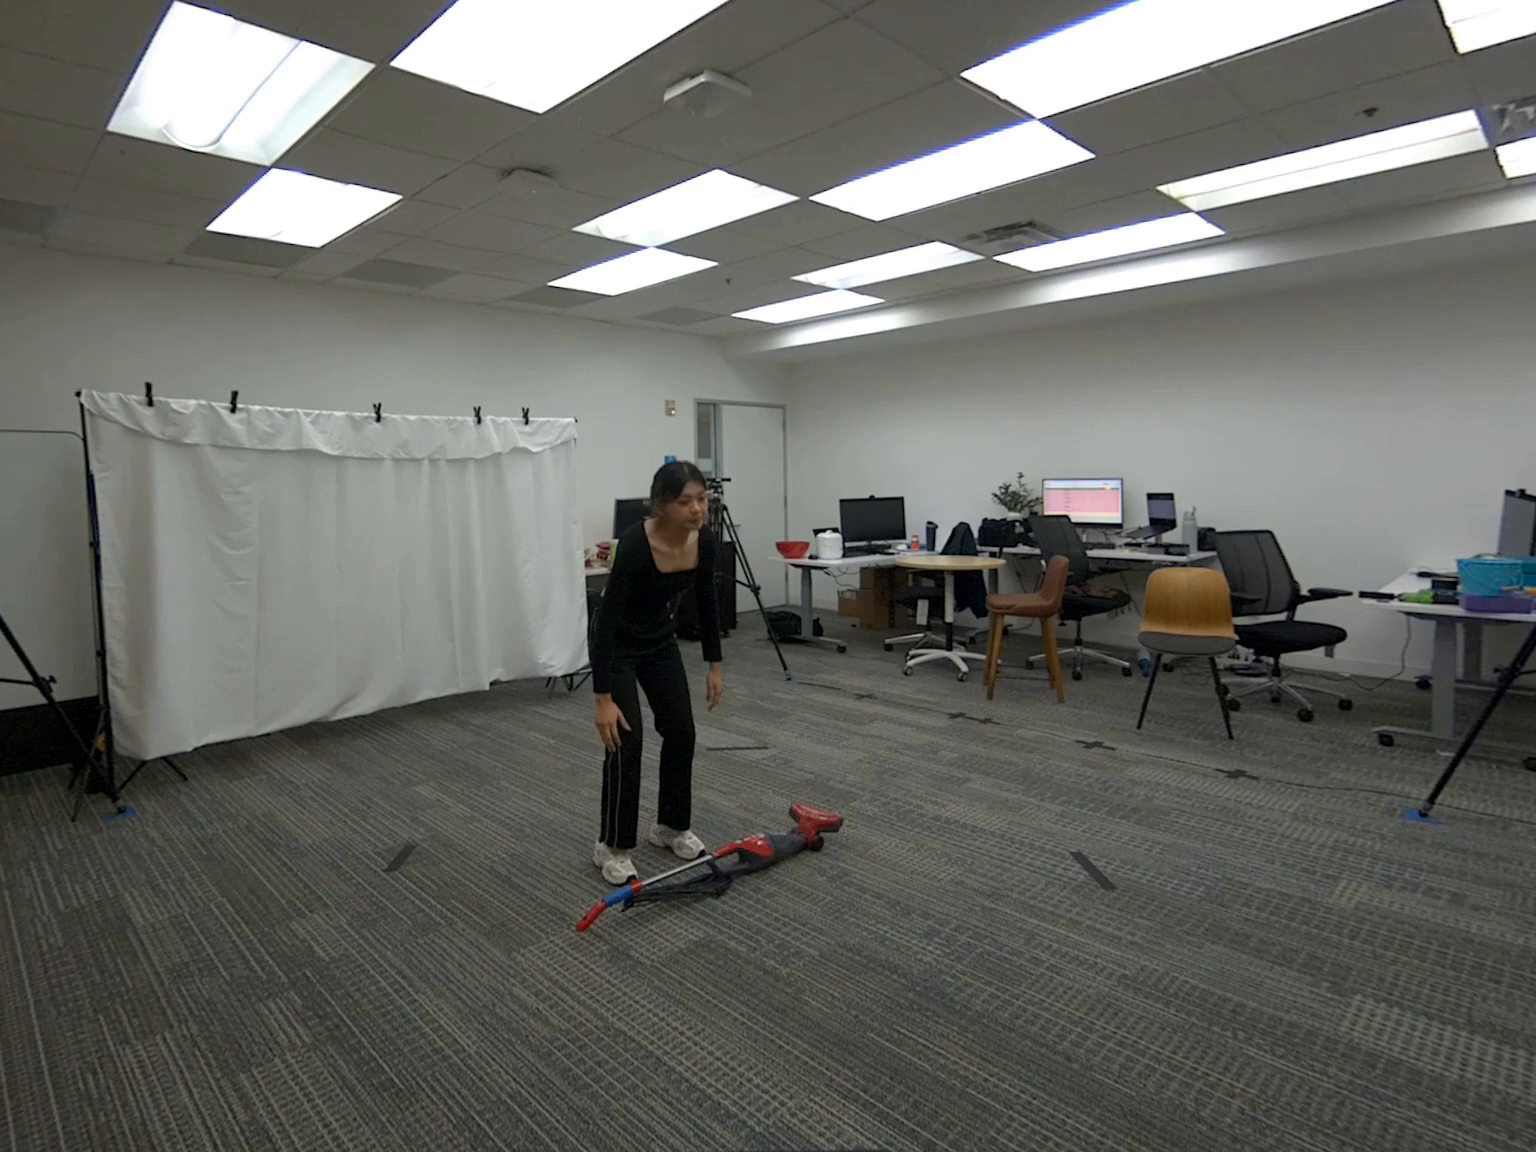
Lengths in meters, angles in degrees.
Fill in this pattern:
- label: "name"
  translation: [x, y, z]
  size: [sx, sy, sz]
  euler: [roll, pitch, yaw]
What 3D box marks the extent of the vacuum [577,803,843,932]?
- label: "vacuum"
  translation: [-0.186, 1.007, 2.911]
  size: [0.259, 0.144, 1.023]
  euler: [-2, 5, 45]
